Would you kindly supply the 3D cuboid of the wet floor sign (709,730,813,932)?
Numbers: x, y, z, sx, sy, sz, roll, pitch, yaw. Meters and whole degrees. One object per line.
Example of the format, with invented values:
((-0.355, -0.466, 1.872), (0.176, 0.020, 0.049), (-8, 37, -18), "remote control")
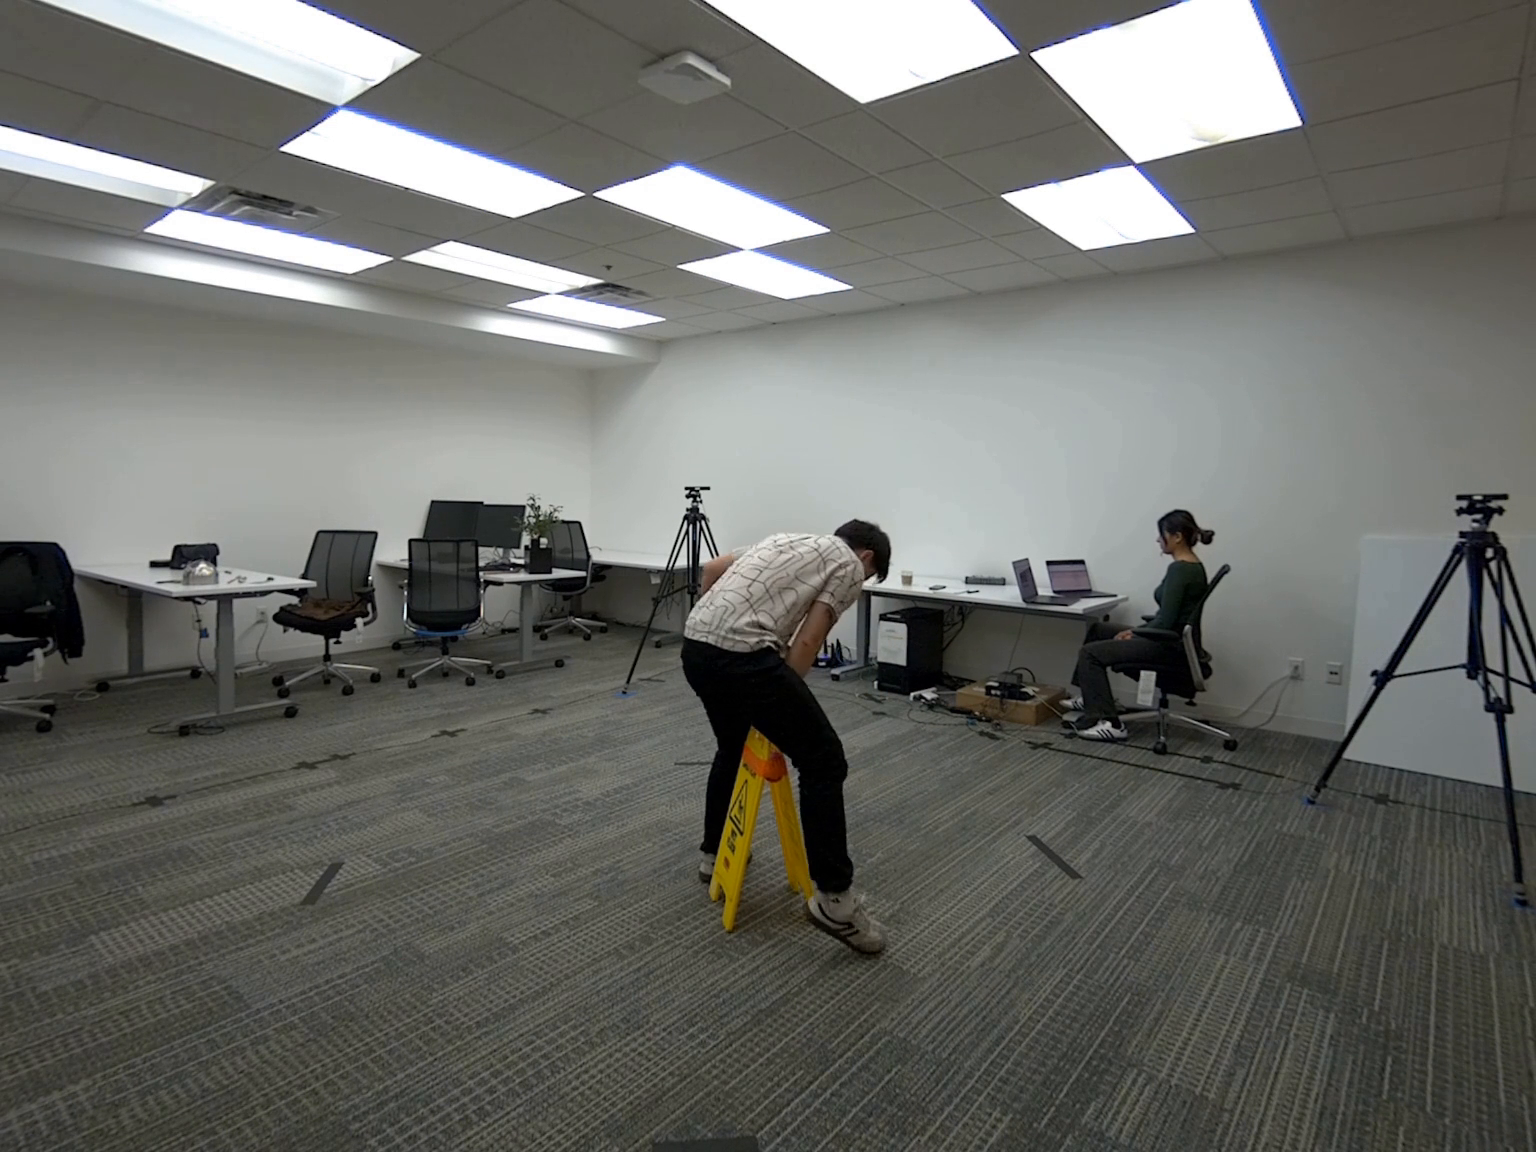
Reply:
((-0.019, 0.772, 2.810), (0.285, 0.644, 0.288), (1, 4, -16), "wet floor sign")
